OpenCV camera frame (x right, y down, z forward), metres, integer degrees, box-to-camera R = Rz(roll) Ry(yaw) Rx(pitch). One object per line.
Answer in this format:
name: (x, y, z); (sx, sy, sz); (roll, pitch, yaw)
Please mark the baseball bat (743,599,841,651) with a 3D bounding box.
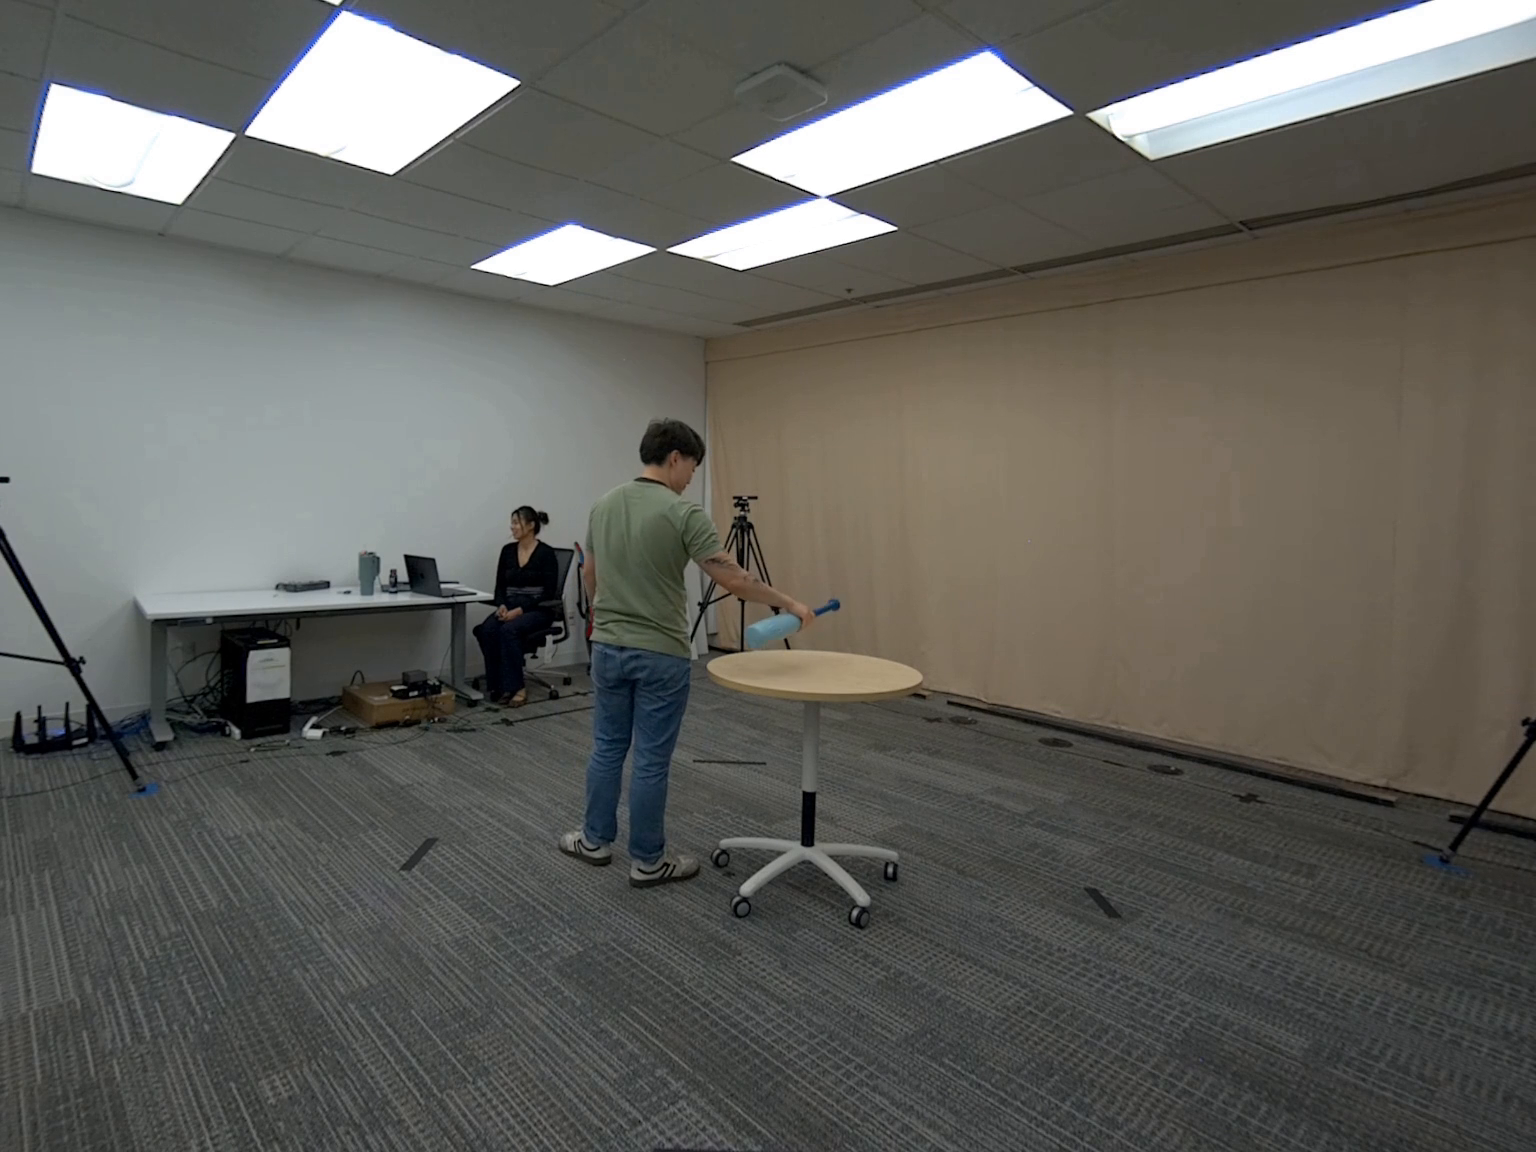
baseball bat: (0.088, 0.151, 3.057); (0.091, 0.088, 0.534); (5, 13, 37)
